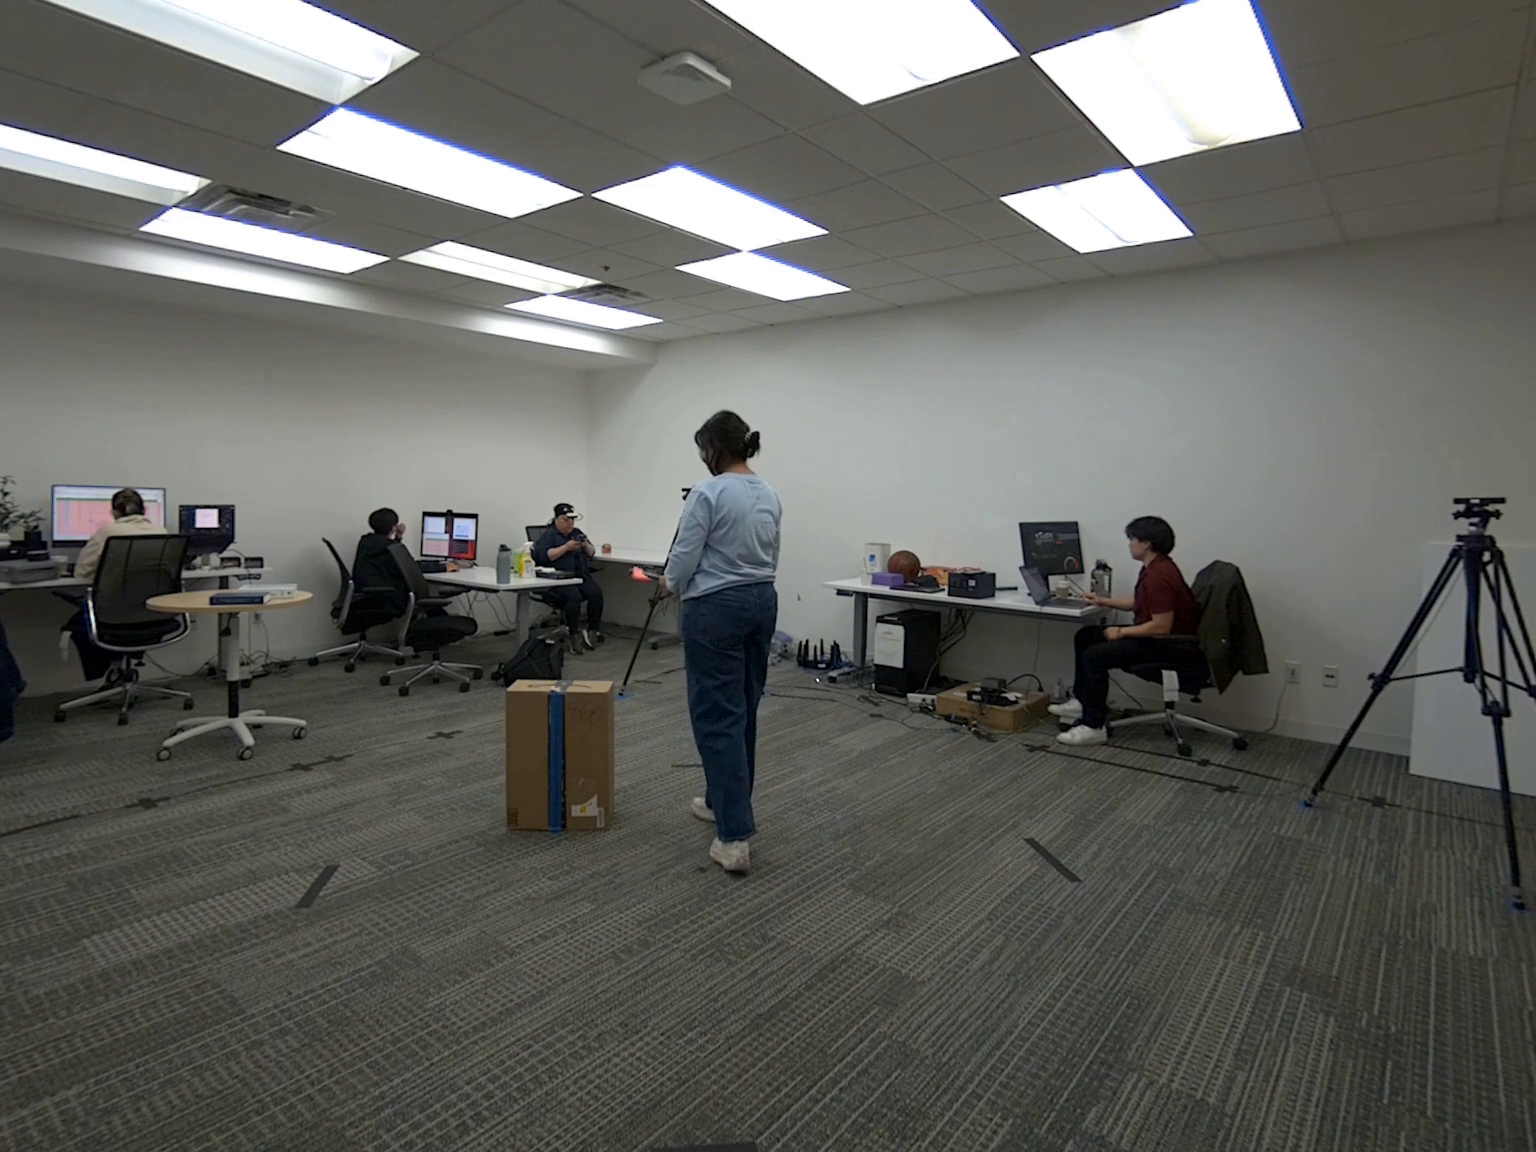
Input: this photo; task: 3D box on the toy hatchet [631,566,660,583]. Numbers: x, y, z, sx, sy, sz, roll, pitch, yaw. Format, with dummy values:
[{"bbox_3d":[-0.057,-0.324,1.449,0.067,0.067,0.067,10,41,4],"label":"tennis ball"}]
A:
[{"bbox_3d":[-0.441,0.020,3.488,0.274,0.029,0.130,20,18,11],"label":"toy hatchet"}]
